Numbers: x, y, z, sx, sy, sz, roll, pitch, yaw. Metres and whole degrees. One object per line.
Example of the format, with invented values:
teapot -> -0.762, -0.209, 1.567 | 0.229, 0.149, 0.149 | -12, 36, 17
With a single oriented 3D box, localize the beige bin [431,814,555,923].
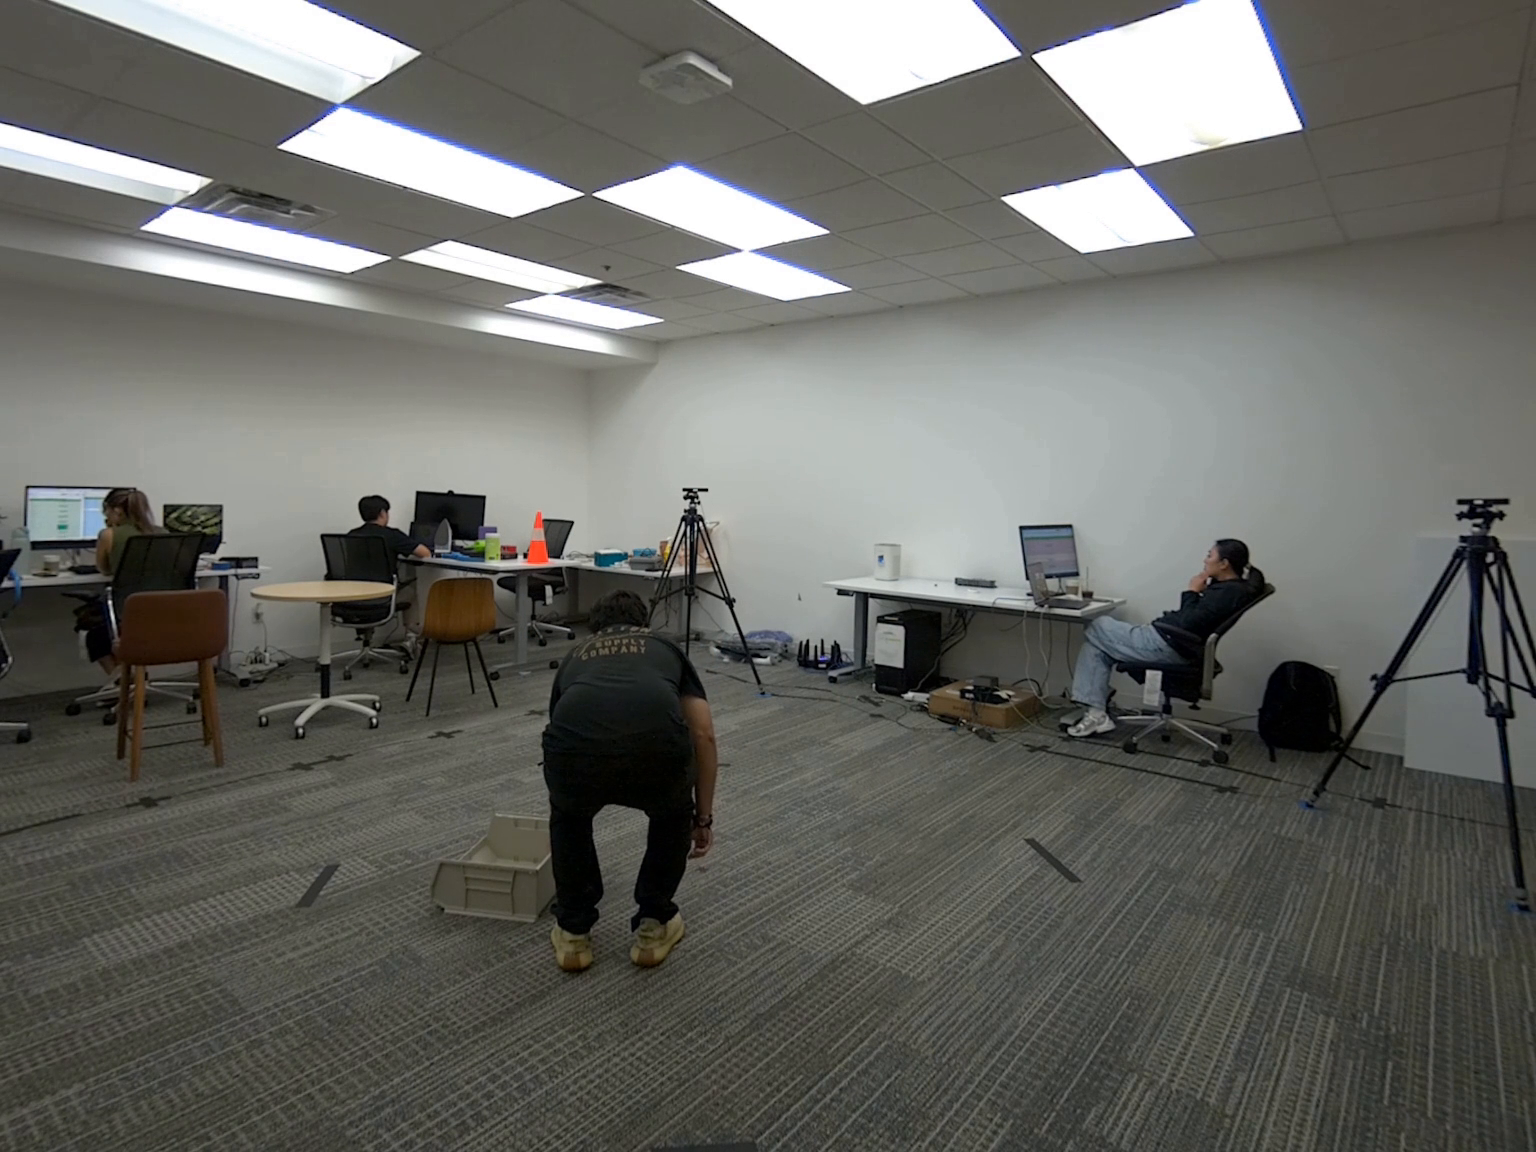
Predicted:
beige bin -> -0.902, 0.988, 2.927 | 0.381, 0.188, 0.420 | 3, 5, 8
